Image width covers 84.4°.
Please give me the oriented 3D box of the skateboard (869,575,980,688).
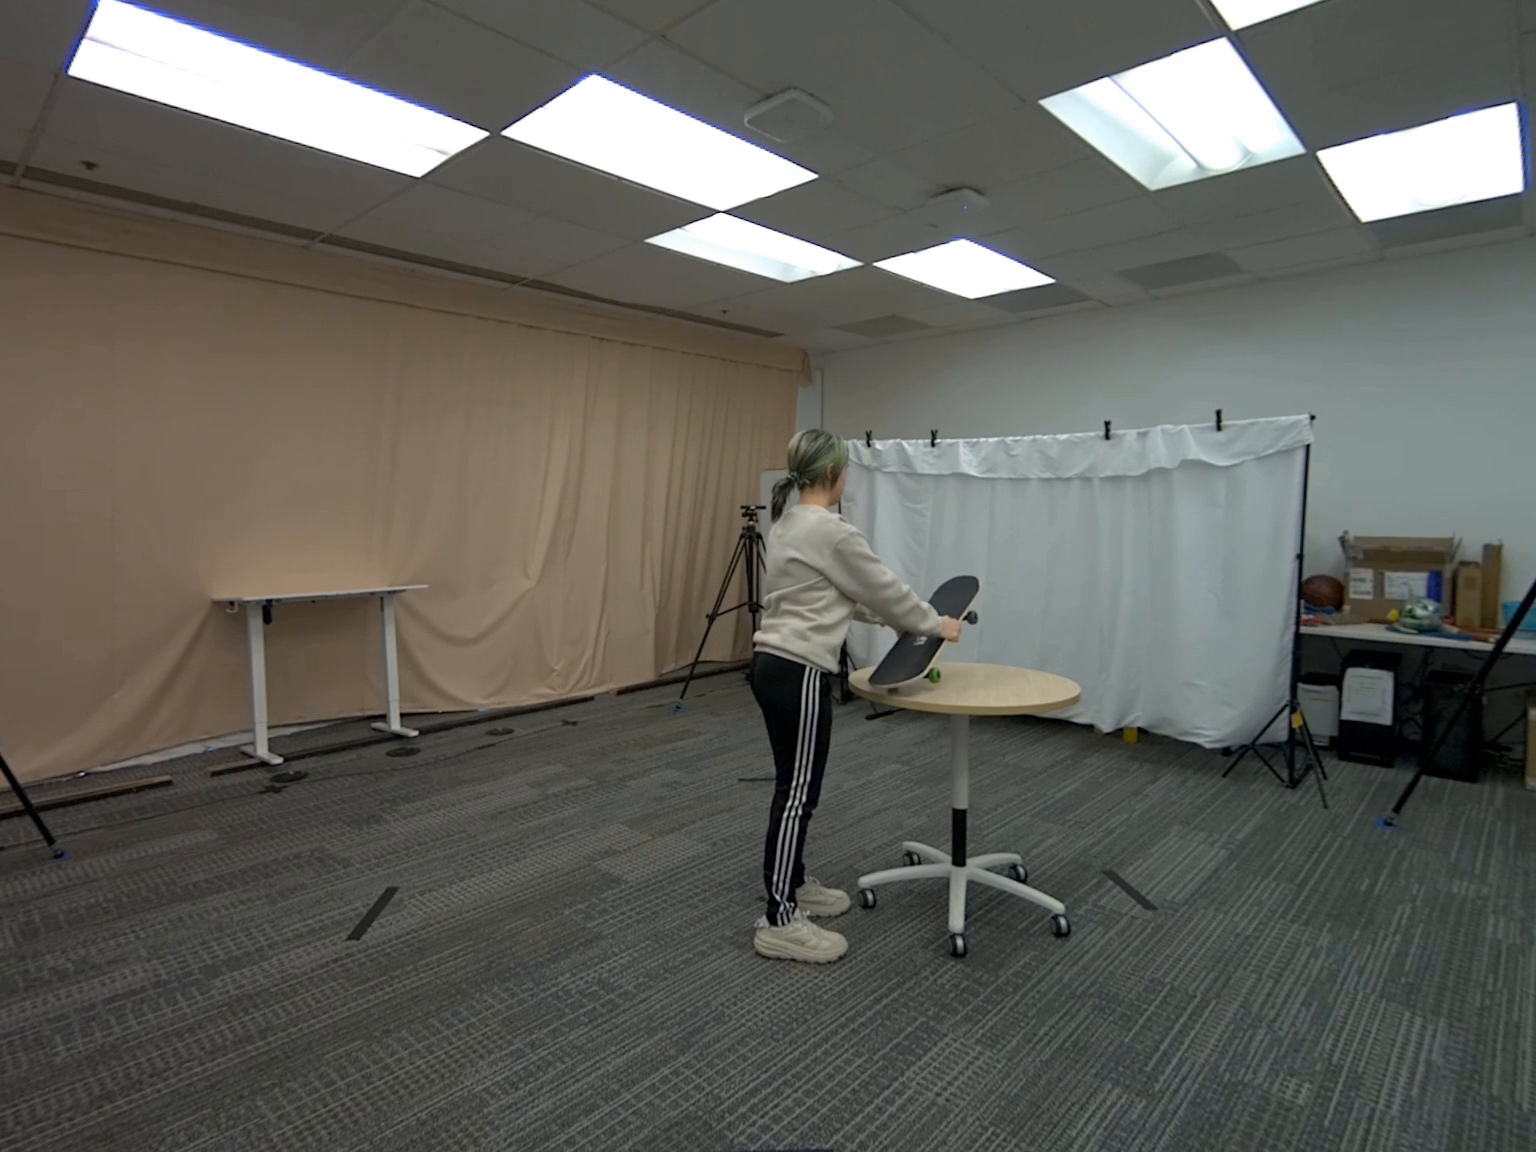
[{"bbox_3d":[0.579,0.221,2.939,0.199,0.108,0.776,-8,22,37],"label":"skateboard"}]
